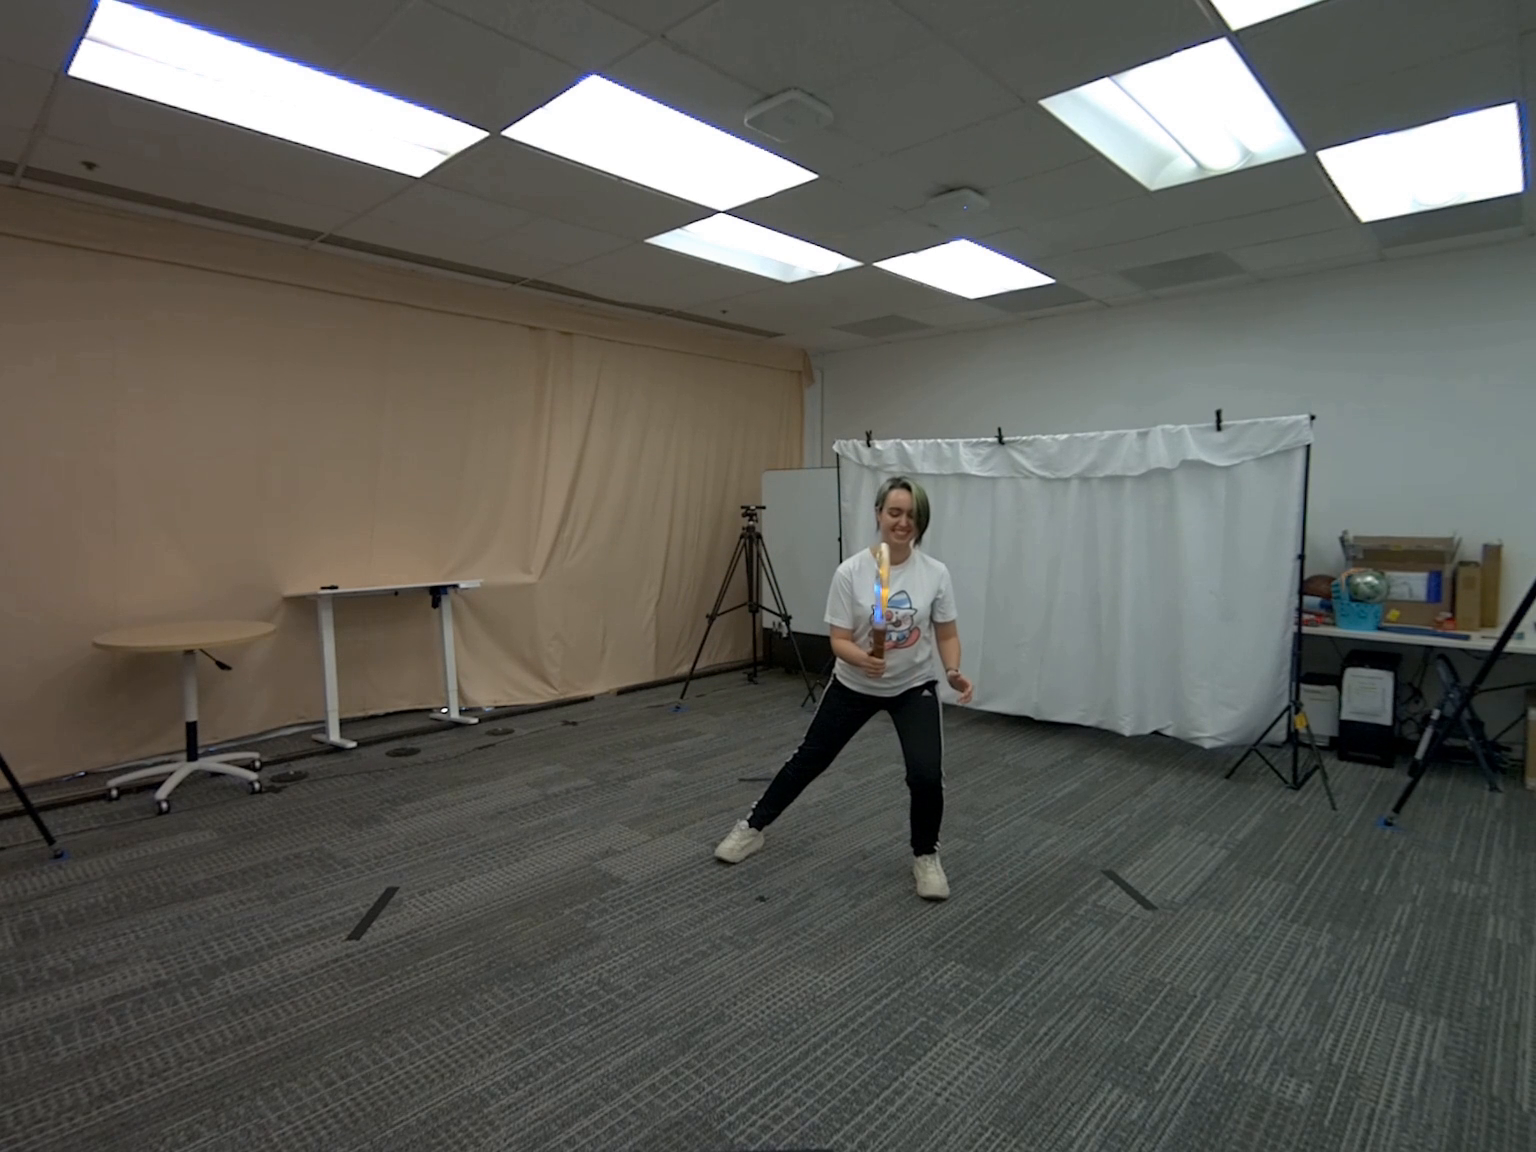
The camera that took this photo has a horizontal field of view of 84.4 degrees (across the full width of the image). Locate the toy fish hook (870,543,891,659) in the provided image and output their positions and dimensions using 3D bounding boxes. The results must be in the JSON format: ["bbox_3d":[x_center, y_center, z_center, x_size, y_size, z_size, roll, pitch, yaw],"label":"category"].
[{"bbox_3d":[0.359,0.134,2.678,0.049,0.498,0.226,0,27,9],"label":"toy fish hook"}]
